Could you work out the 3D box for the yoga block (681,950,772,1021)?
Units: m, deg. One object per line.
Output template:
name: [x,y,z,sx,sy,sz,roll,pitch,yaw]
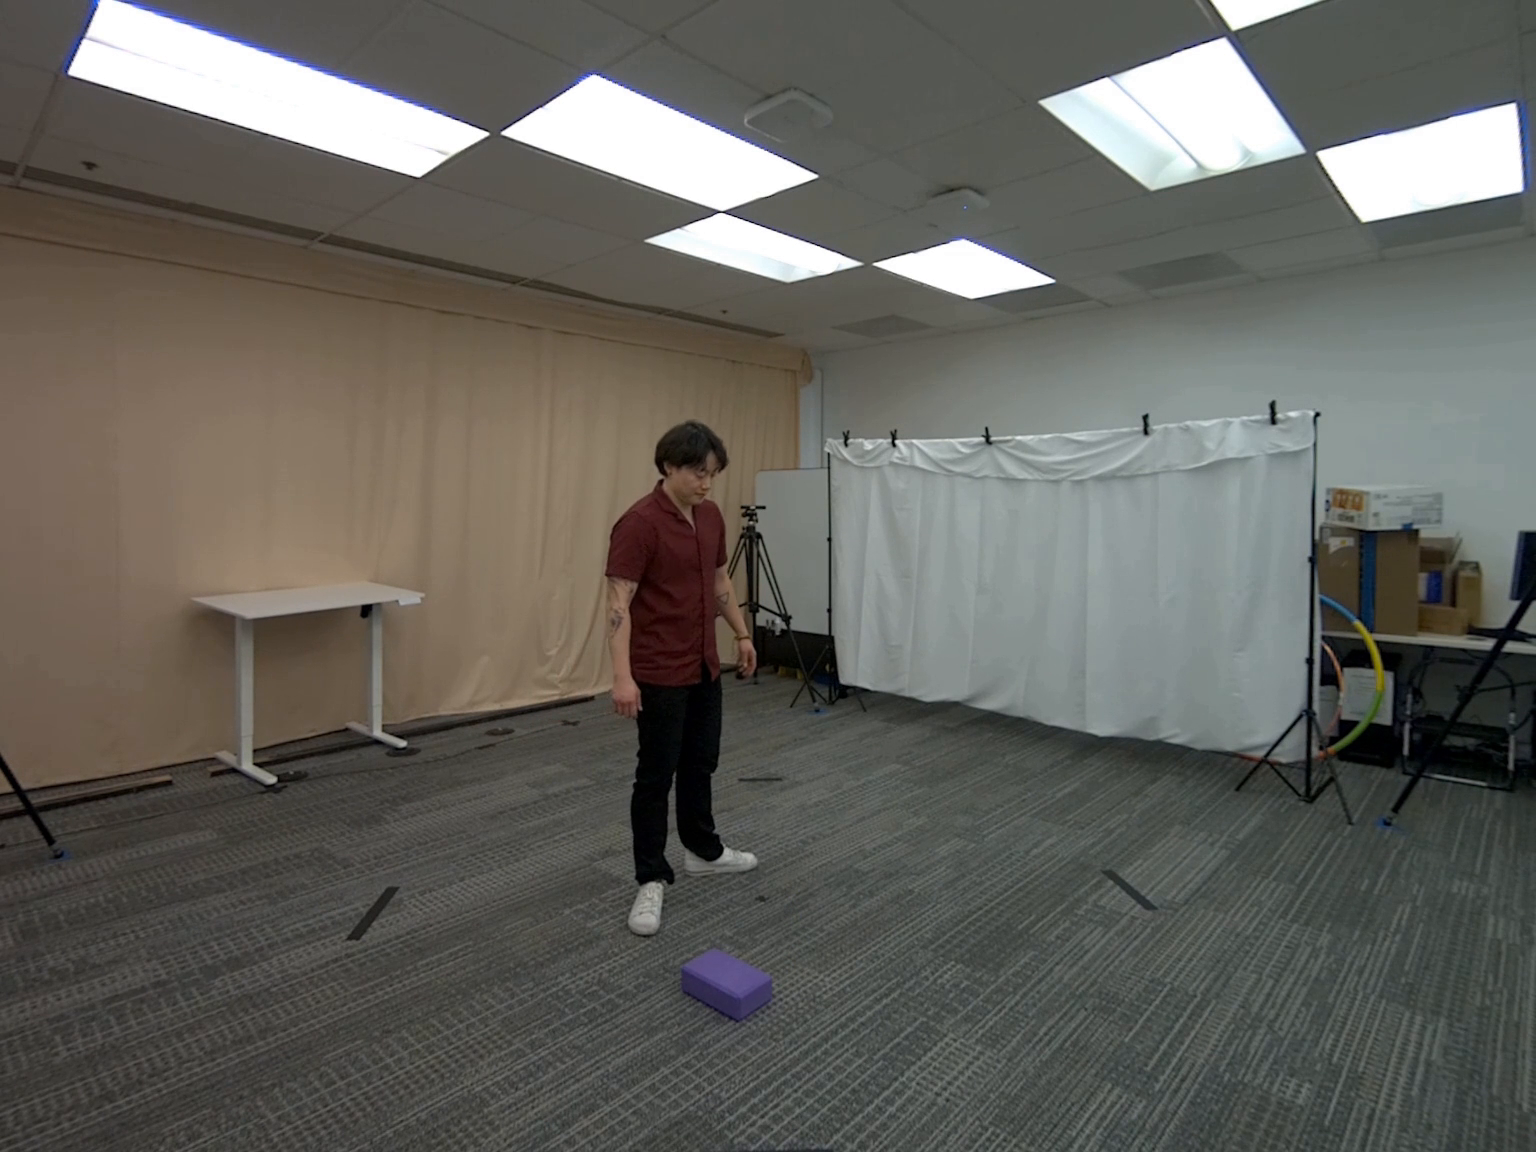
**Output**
yoga block: [-0.116,1.157,2.385,0.237,0.076,0.144,4,6,40]
